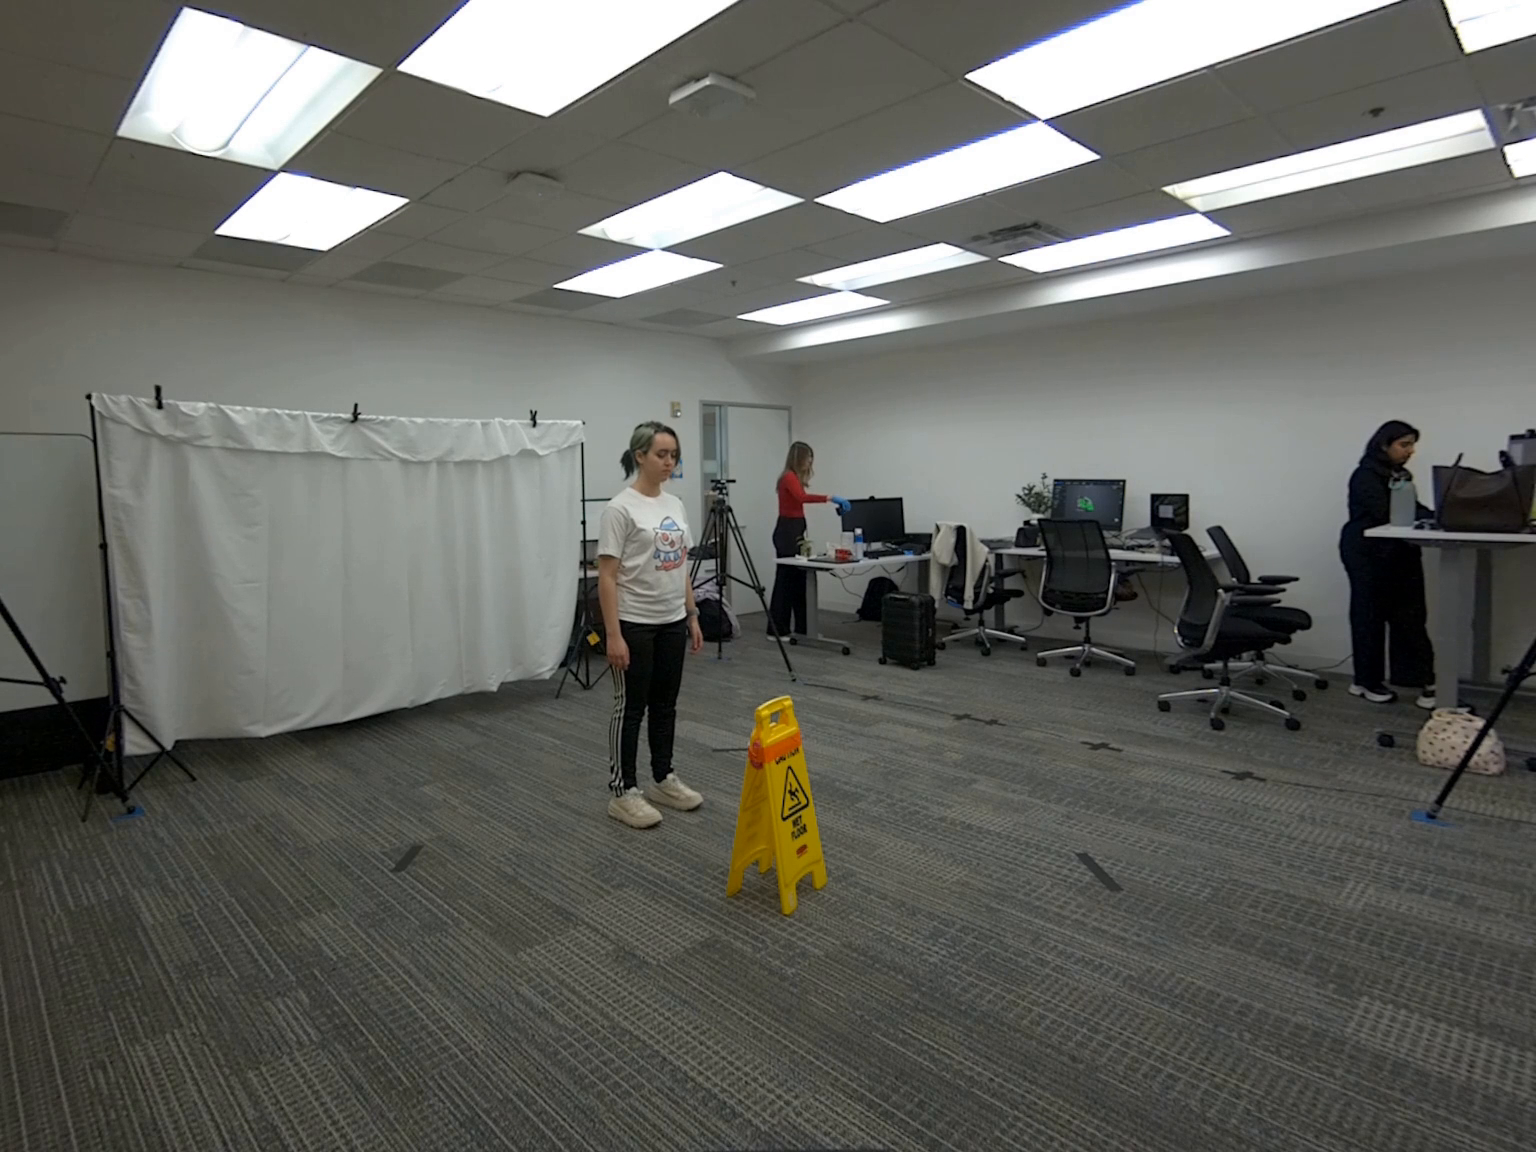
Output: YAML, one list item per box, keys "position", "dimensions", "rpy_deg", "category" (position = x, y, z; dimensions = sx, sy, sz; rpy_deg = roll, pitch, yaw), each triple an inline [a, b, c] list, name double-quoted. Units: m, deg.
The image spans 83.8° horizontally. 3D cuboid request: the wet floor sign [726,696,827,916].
- position: [0.032, 0.744, 2.887]
  dimensions: [0.298, 0.643, 0.276]
  rpy_deg: [3, 6, 33]
  category: "wet floor sign"
